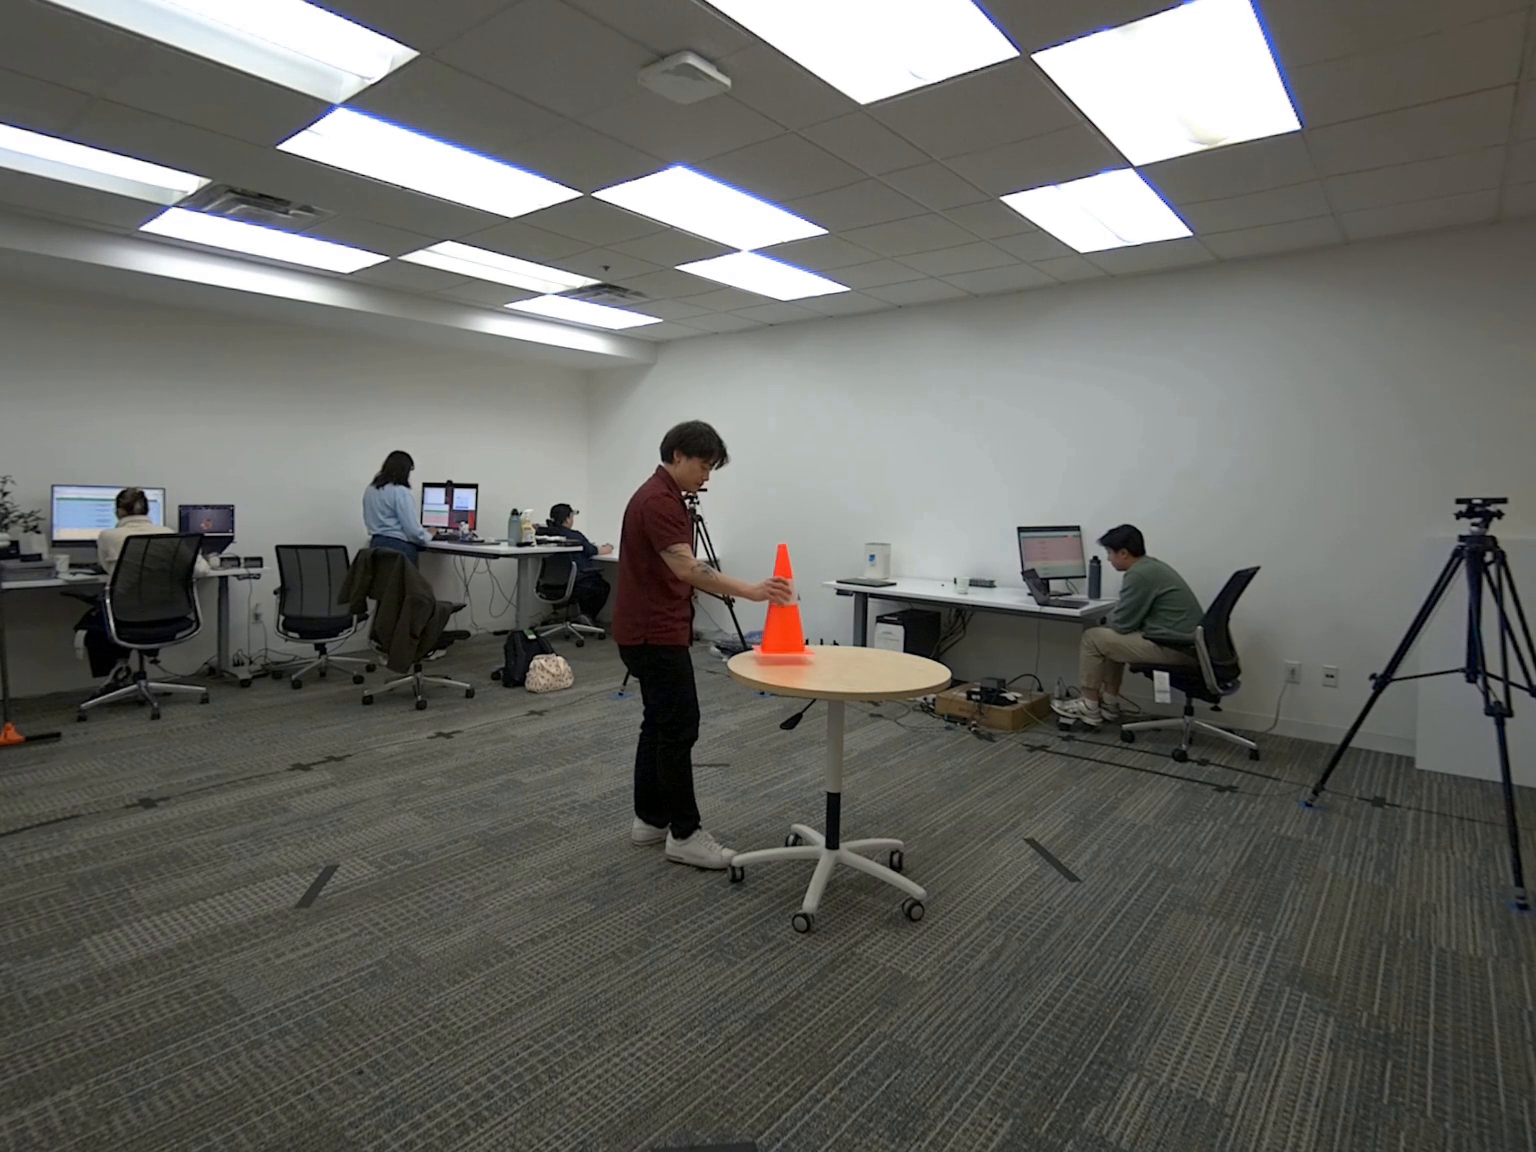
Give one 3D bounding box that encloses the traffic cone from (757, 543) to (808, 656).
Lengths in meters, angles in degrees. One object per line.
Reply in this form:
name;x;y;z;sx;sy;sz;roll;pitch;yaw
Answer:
traffic cone;0.042;0.069;3.033;0.202;0.383;0.206;-2;1;-12
